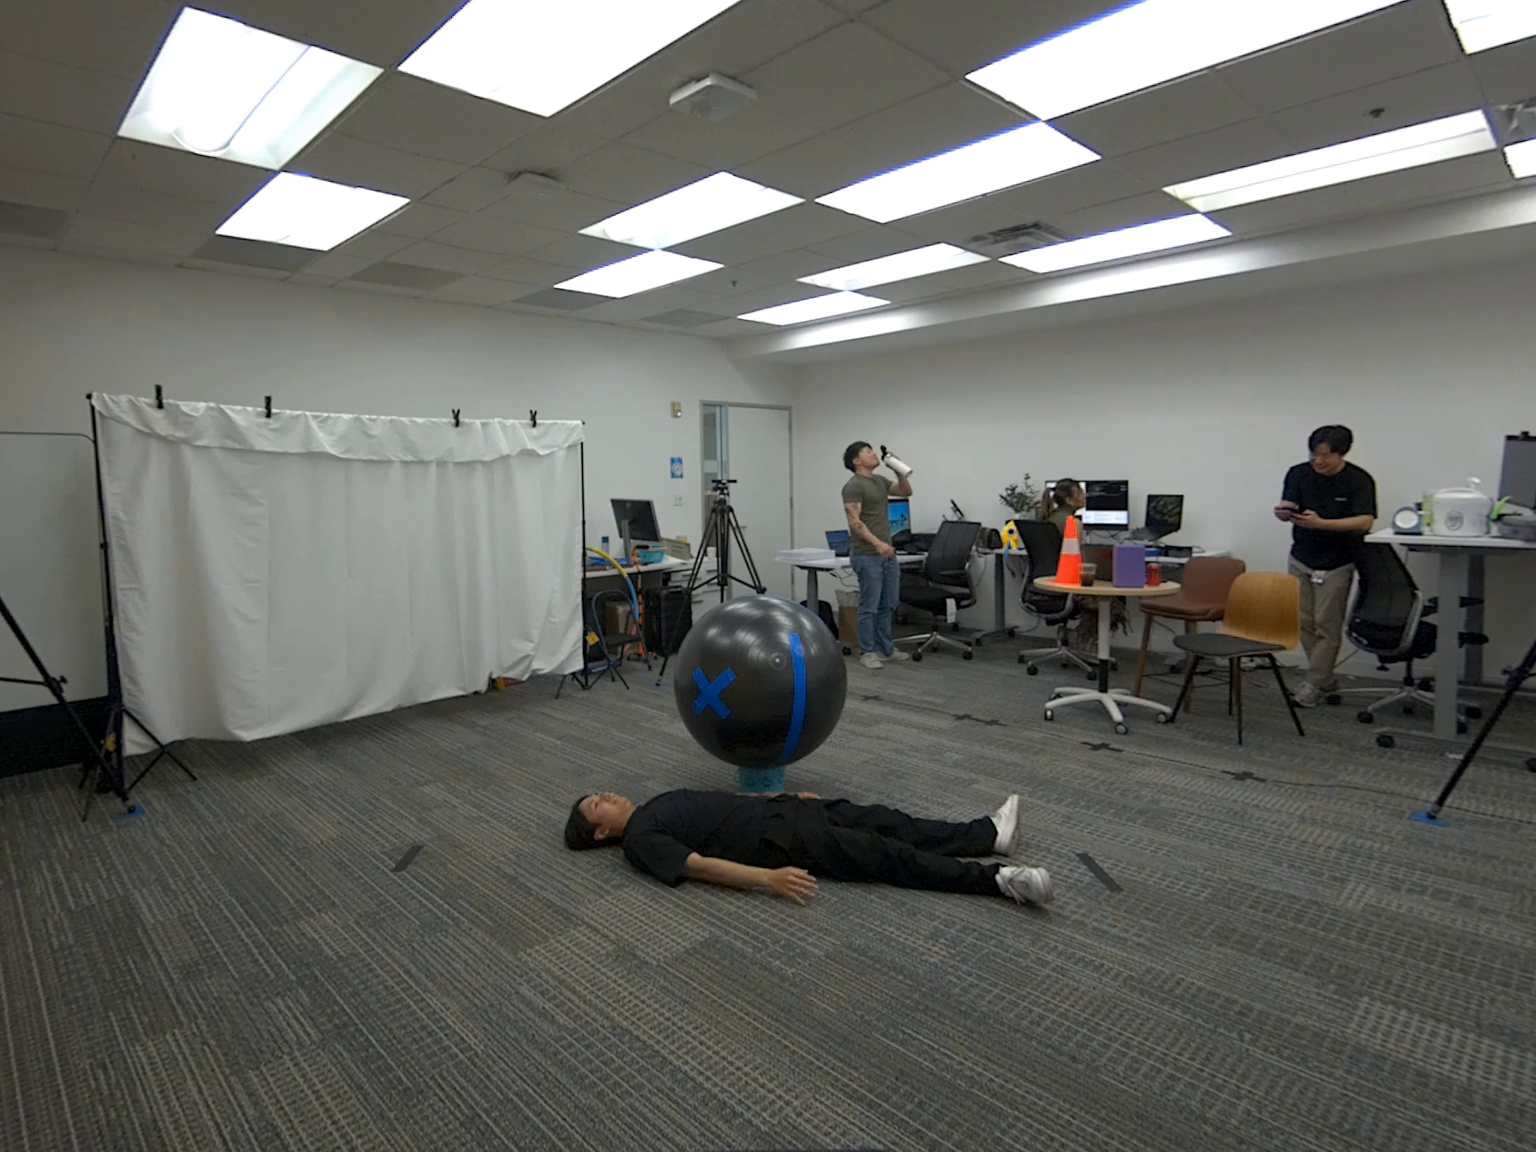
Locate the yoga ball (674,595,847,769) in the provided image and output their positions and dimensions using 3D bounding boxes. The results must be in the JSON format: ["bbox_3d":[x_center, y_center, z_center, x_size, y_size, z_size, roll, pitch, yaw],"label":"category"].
[{"bbox_3d":[-0.037,0.464,3.766,0.757,0.755,0.762,-1,5,-2],"label":"yoga ball"}]
